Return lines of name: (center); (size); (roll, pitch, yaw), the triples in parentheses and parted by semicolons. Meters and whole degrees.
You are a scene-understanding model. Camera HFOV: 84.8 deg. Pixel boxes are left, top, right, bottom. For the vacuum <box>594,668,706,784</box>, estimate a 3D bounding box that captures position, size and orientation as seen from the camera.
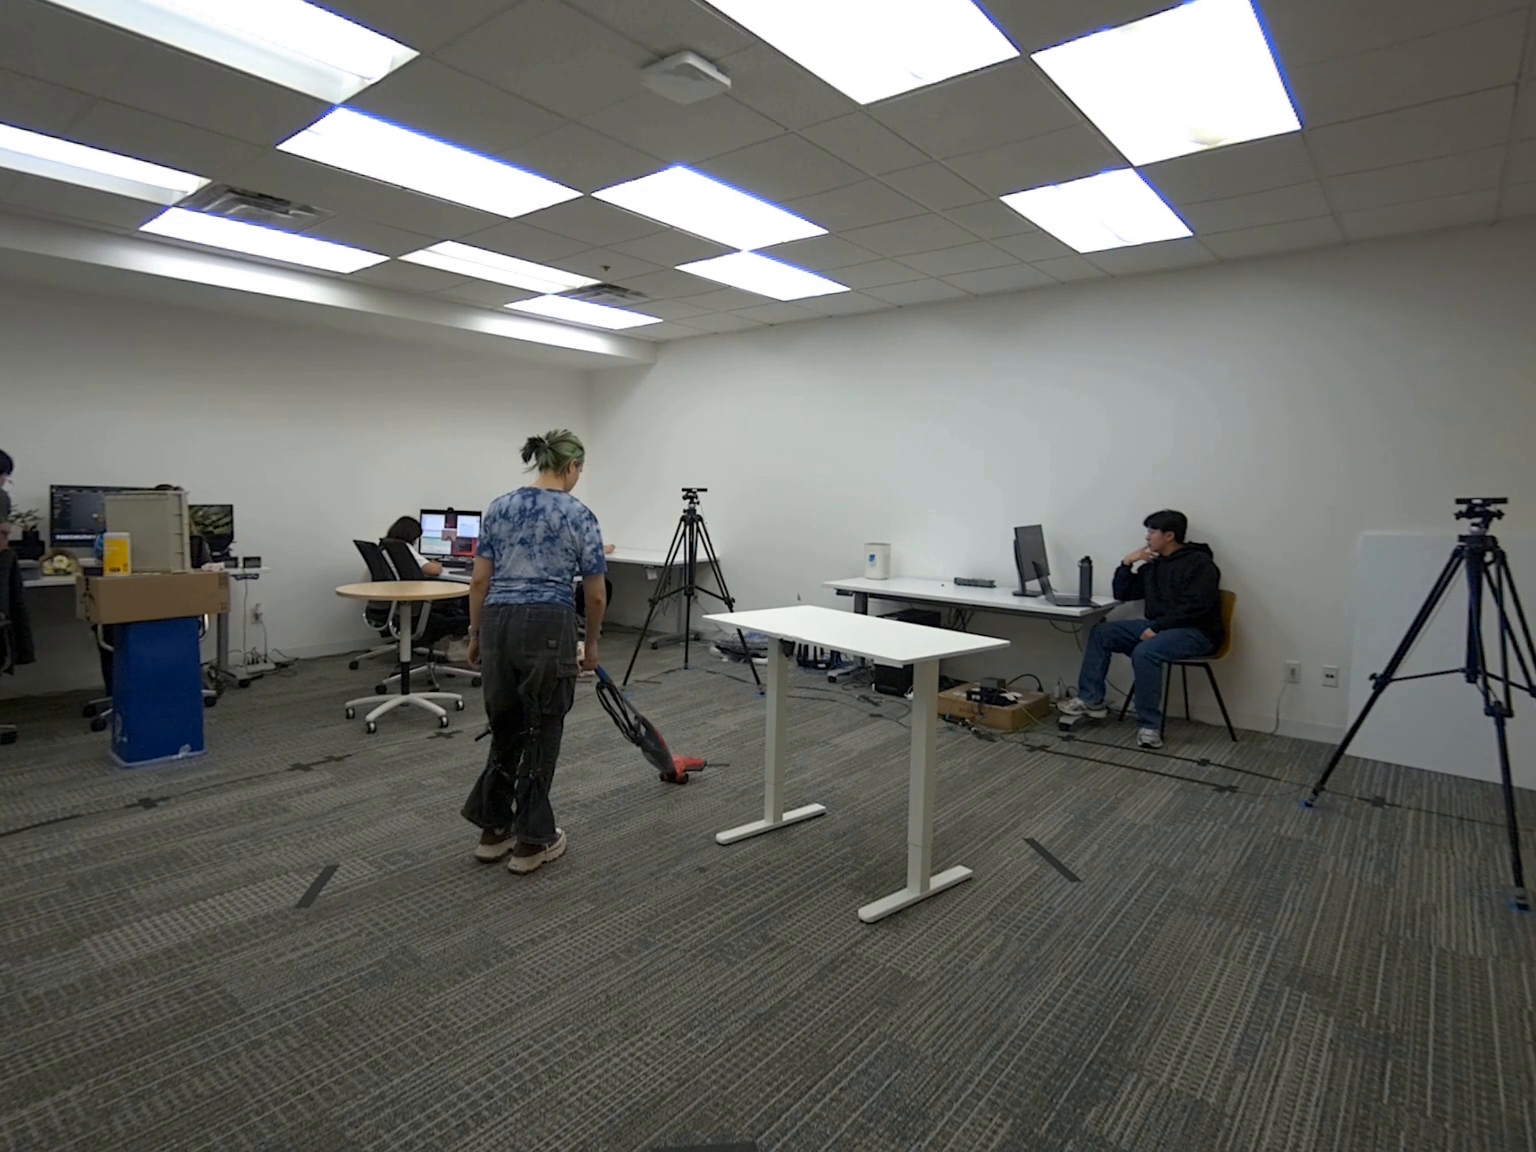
vacuum: (-0.605, 0.646, 3.711); (0.259, 0.146, 1.007); (2, -34, 26)
